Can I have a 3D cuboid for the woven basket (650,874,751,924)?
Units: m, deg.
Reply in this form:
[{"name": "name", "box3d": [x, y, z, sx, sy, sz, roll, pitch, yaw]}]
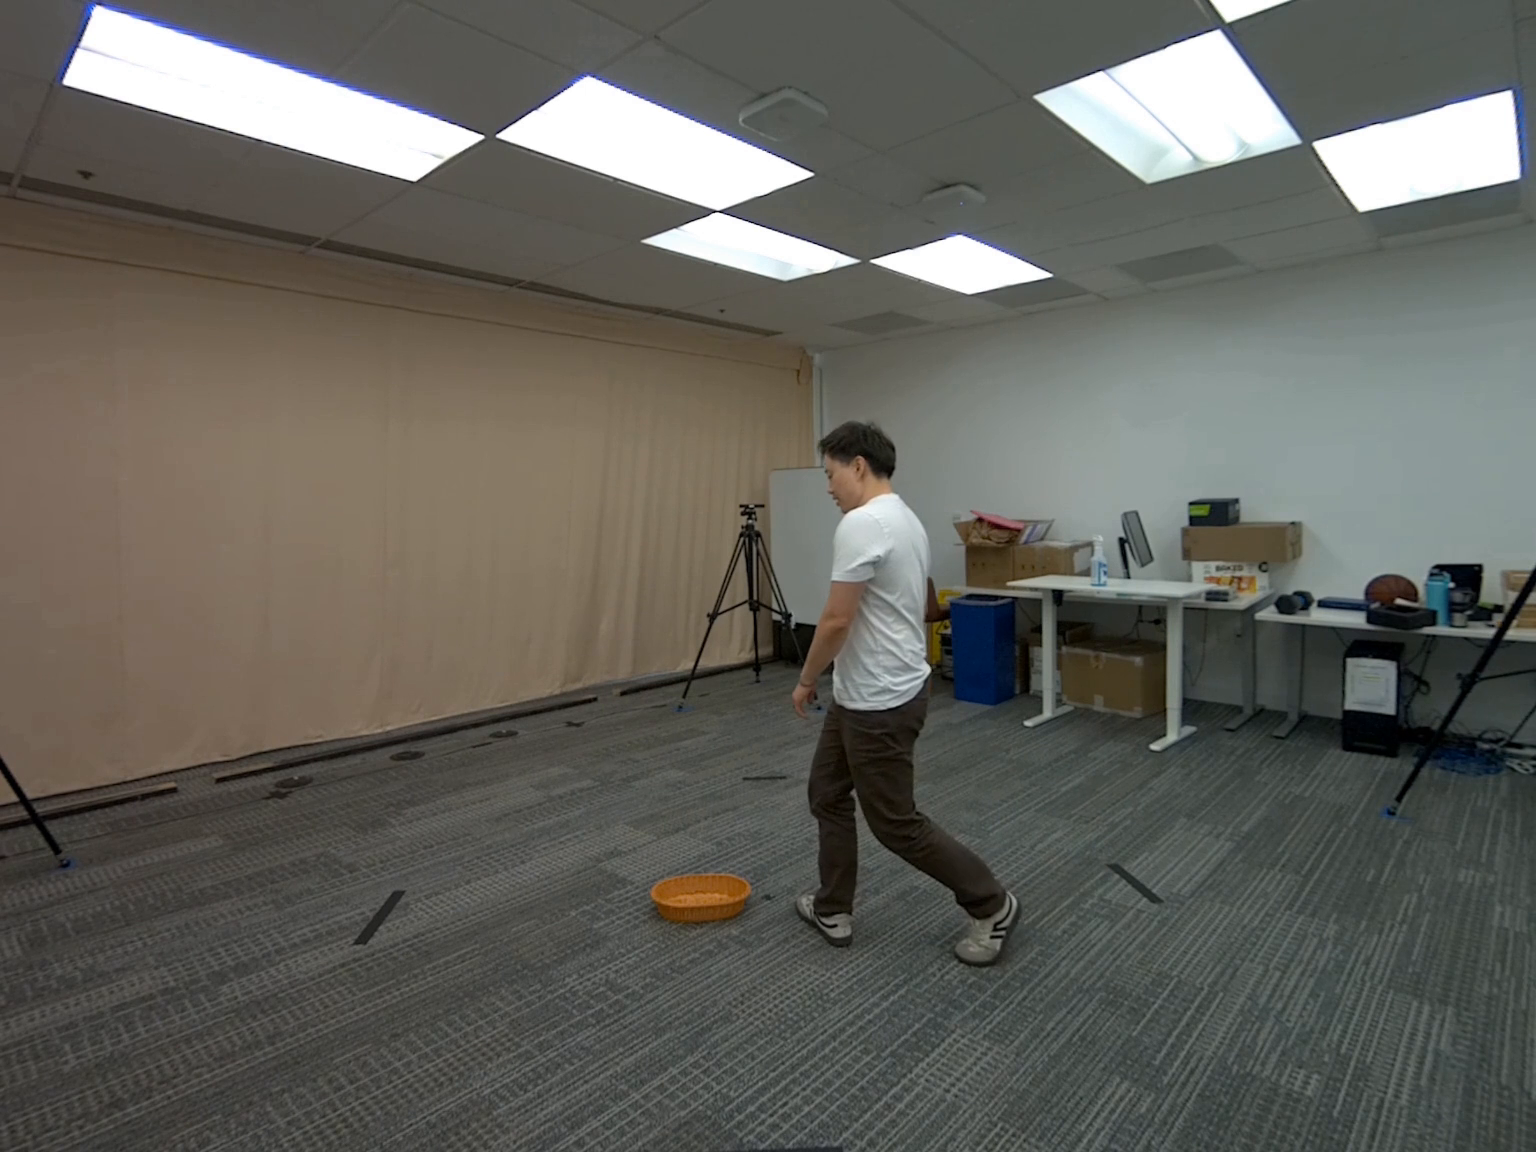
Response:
[{"name": "woven basket", "box3d": [-0.228, 1.115, 2.899, 0.349, 0.073, 0.254, -2, 4, -5]}]
